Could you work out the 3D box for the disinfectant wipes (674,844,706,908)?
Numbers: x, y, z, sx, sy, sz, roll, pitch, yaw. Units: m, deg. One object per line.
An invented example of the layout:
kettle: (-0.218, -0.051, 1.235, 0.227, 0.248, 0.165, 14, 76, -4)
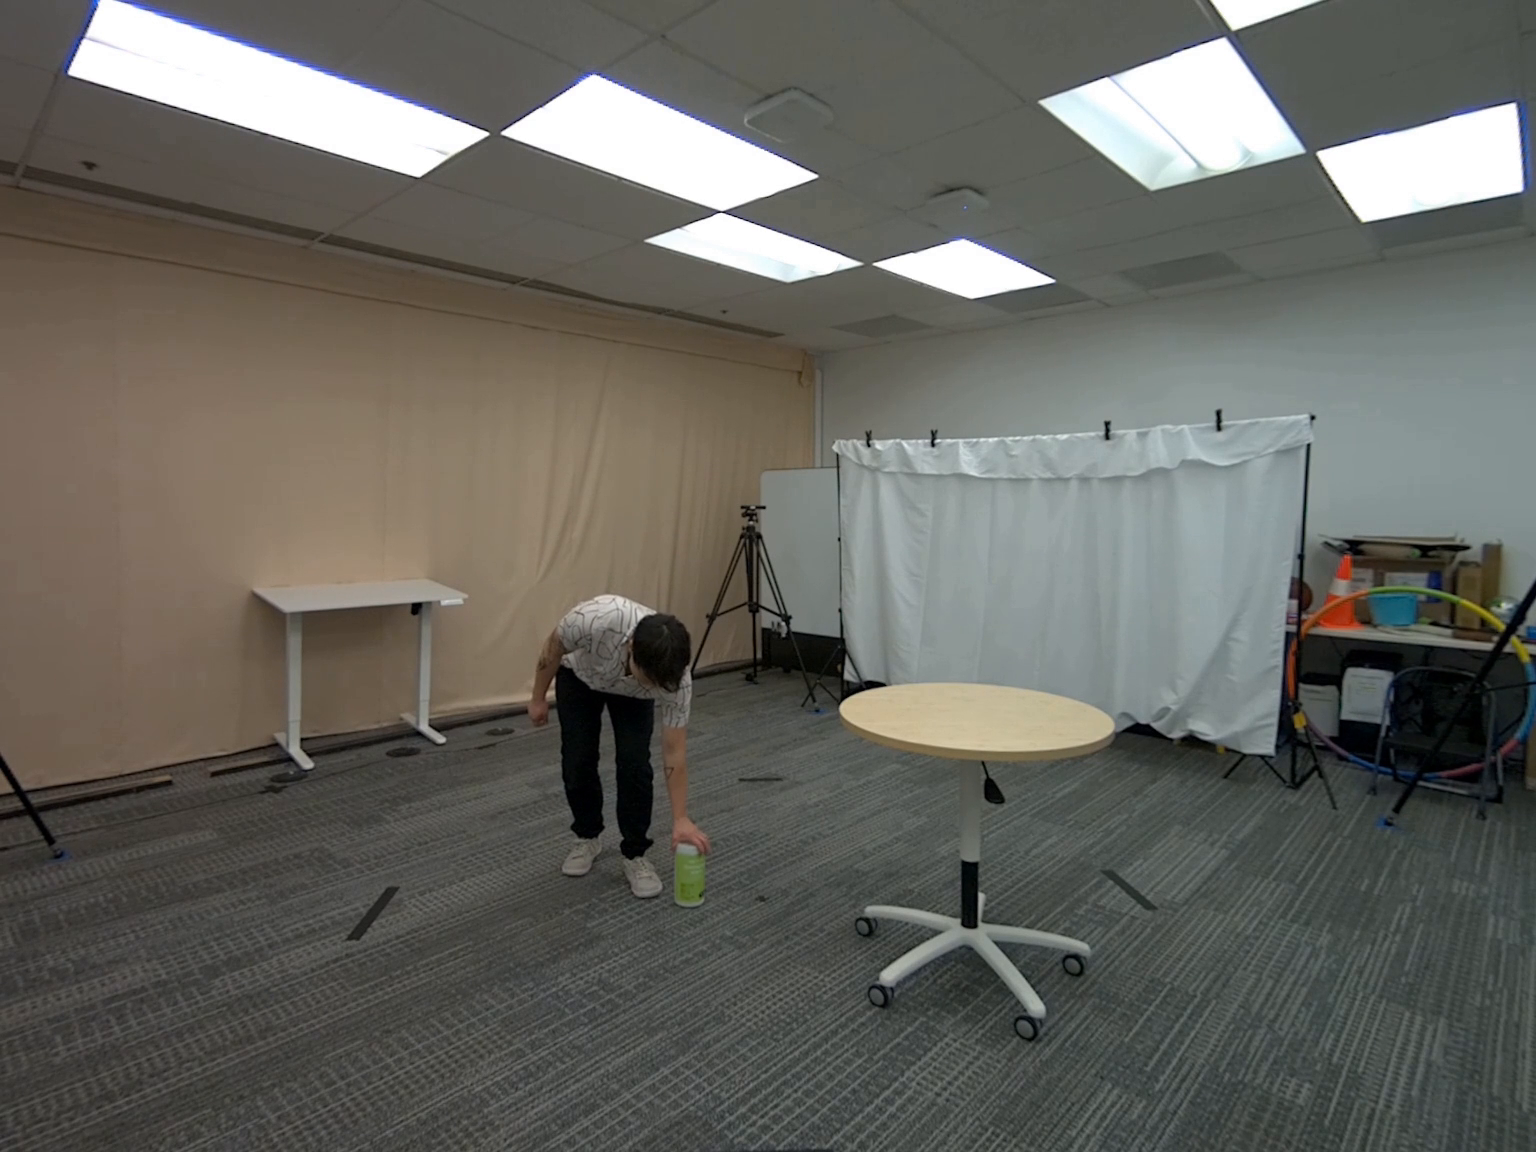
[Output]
disinfectant wipes: (-0.277, 1.041, 2.961, 0.118, 0.217, 0.118, 1, 3, -2)
